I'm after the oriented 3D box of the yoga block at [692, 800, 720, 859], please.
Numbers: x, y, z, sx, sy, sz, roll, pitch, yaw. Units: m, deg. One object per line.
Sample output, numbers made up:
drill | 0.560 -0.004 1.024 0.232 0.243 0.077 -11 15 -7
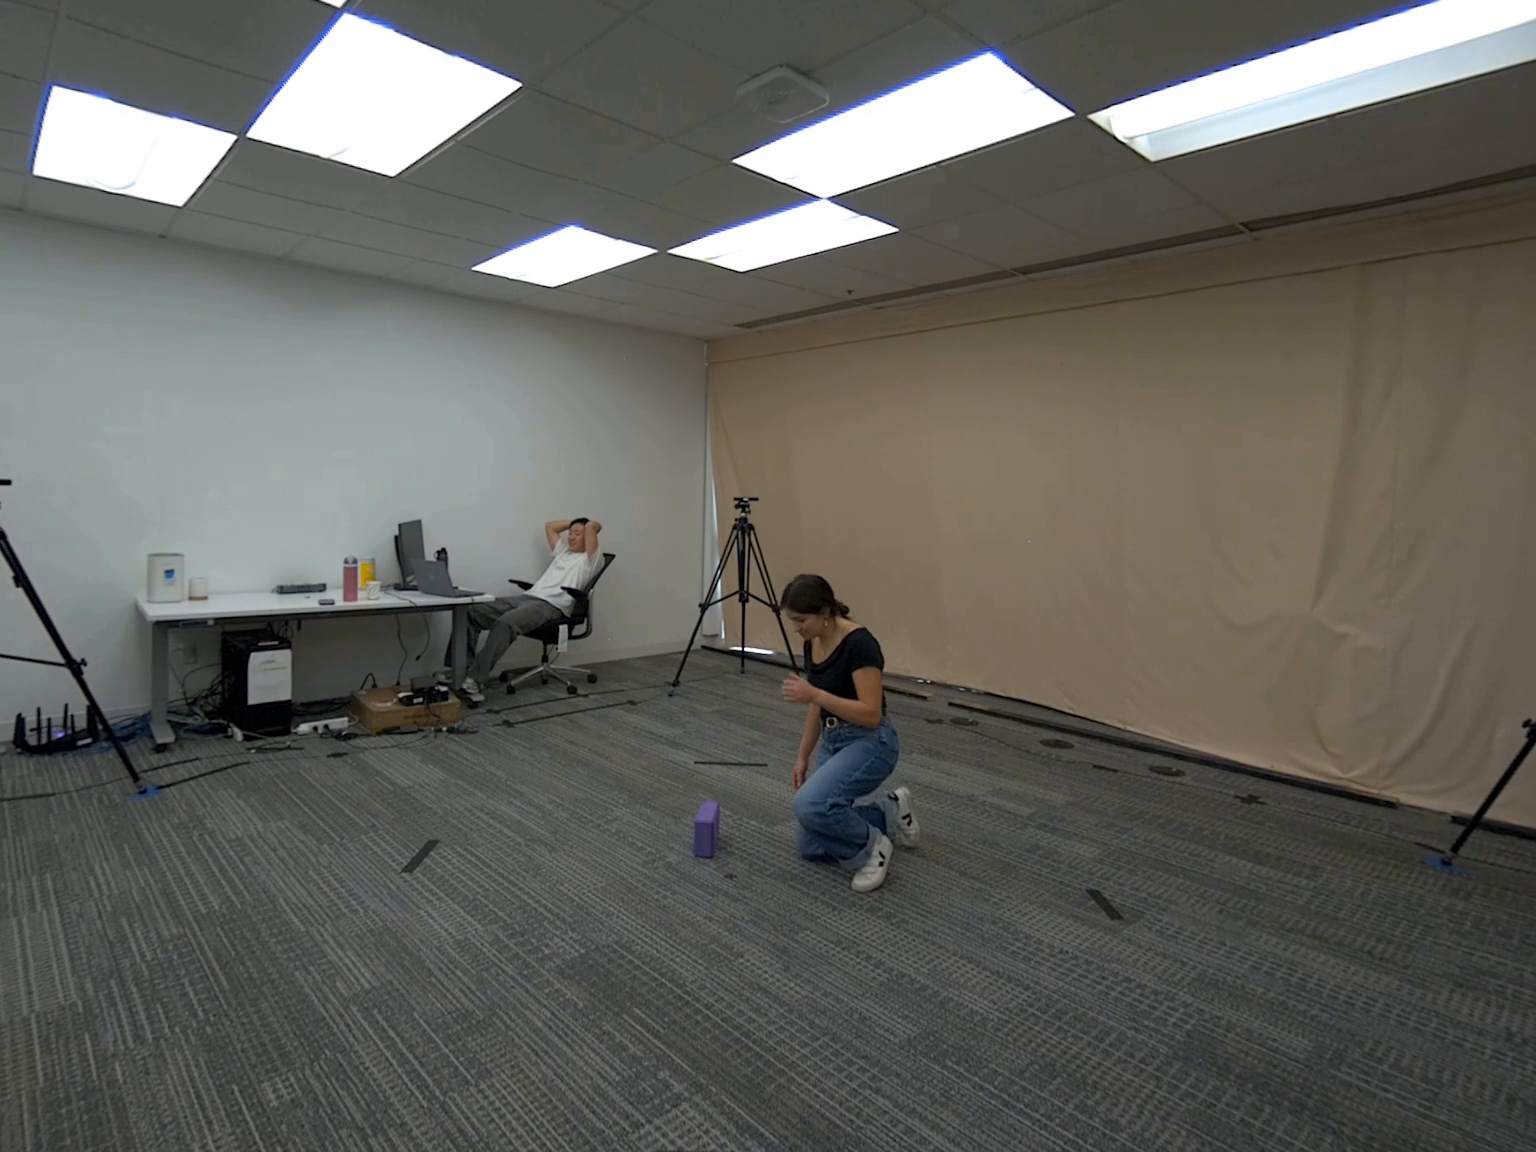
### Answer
yoga block | -0.245 1.003 3.364 0.077 0.148 0.229 0 5 3
